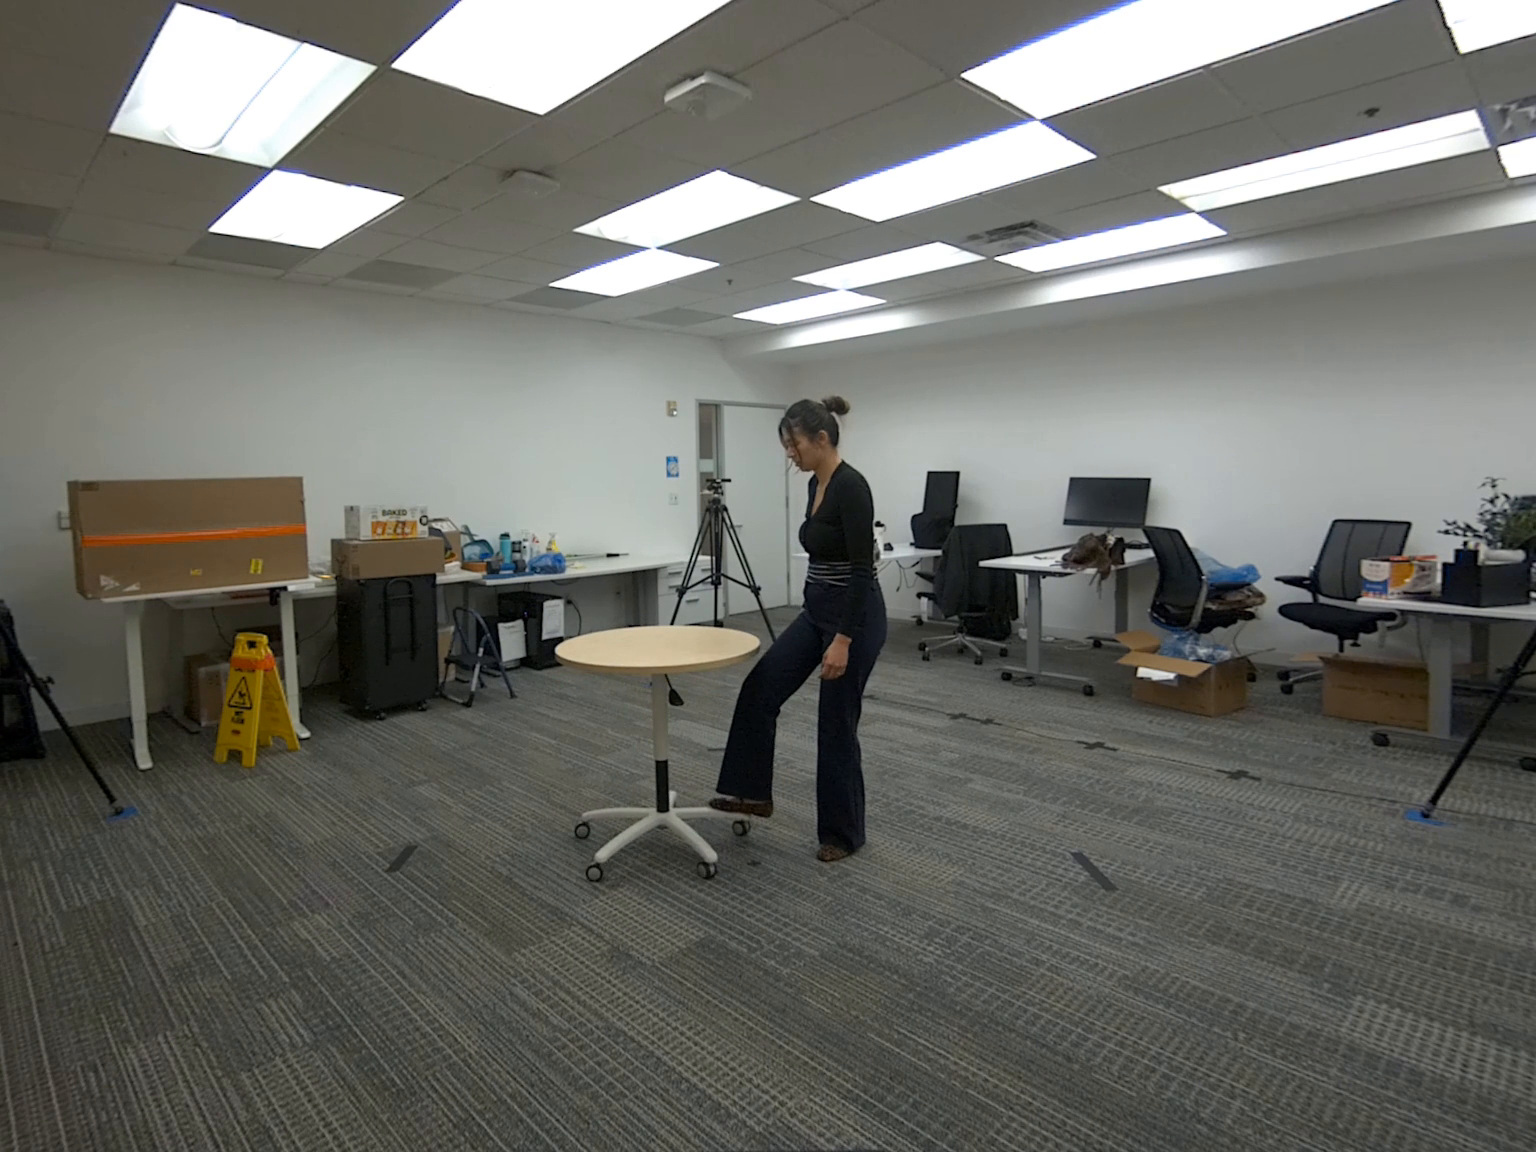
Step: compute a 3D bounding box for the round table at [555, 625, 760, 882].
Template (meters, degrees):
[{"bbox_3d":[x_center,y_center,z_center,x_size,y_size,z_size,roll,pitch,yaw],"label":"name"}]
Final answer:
[{"bbox_3d":[-0.404,0.646,3.238,0.763,0.791,0.768,-1,5,-2],"label":"round table"}]
